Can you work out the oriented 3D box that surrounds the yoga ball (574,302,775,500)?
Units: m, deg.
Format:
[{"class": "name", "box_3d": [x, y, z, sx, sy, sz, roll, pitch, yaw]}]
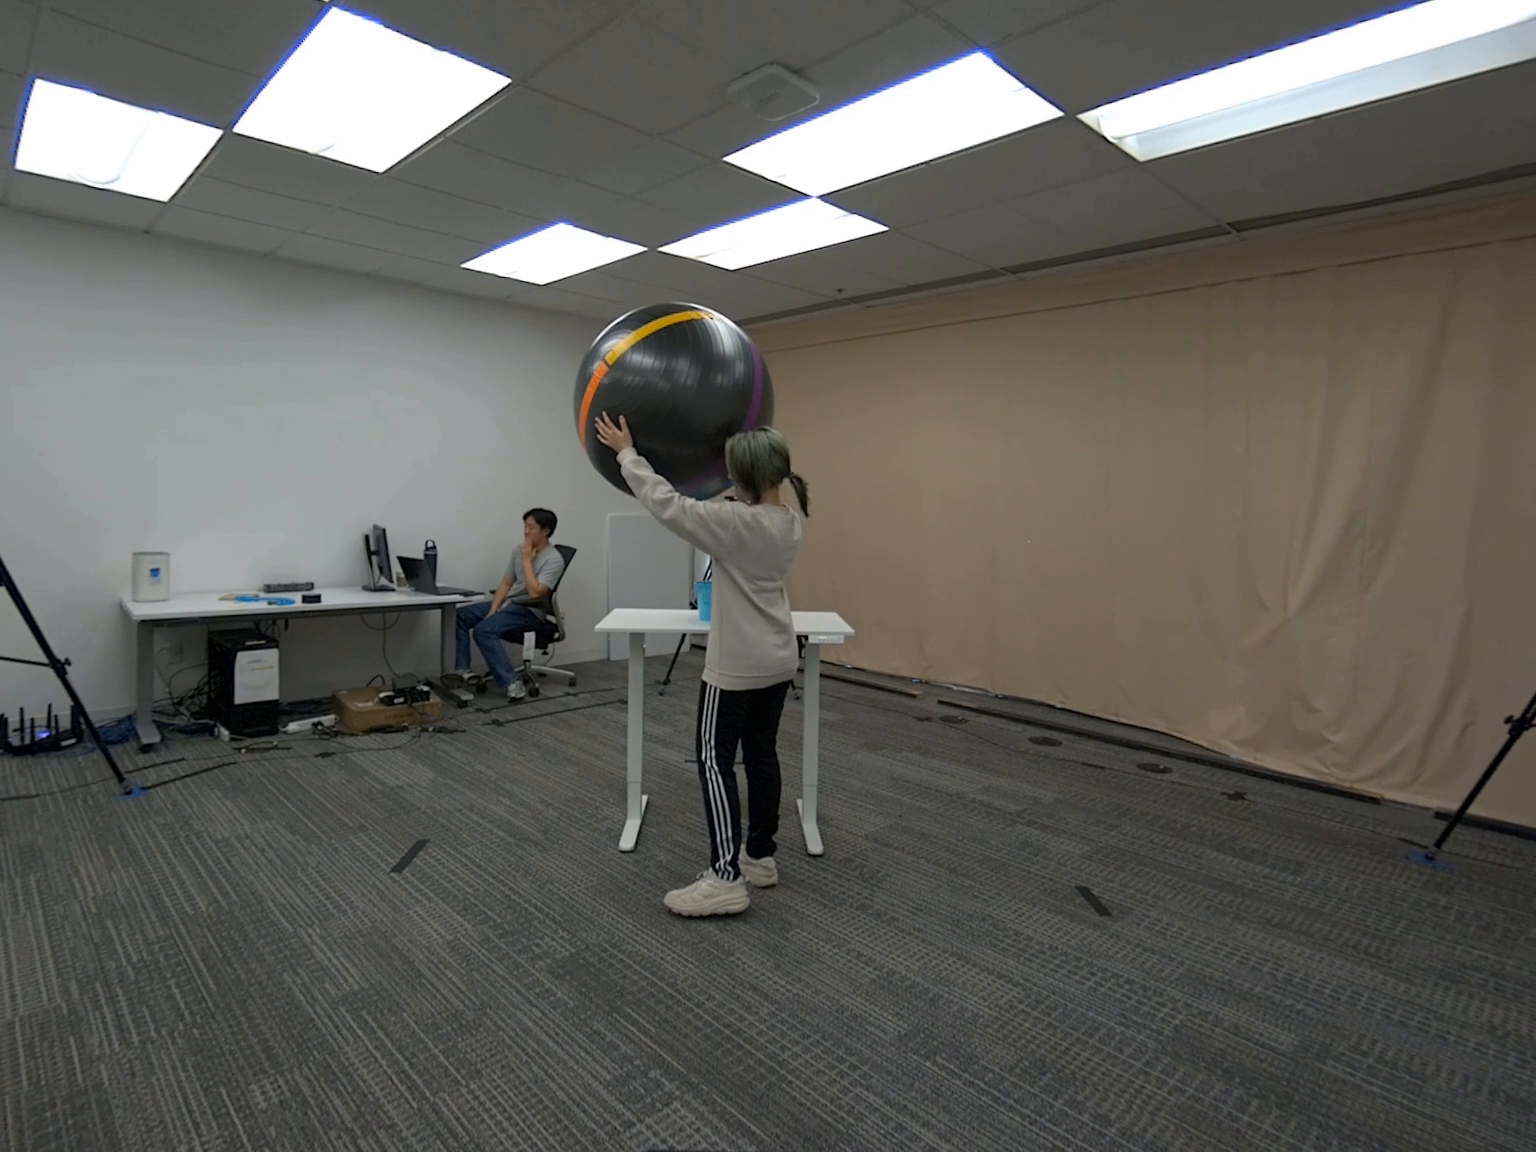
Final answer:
[{"class": "yoga ball", "box_3d": [-0.362, -0.641, 3.191, 0.757, 0.756, 0.761, 1, 4, -1]}]
